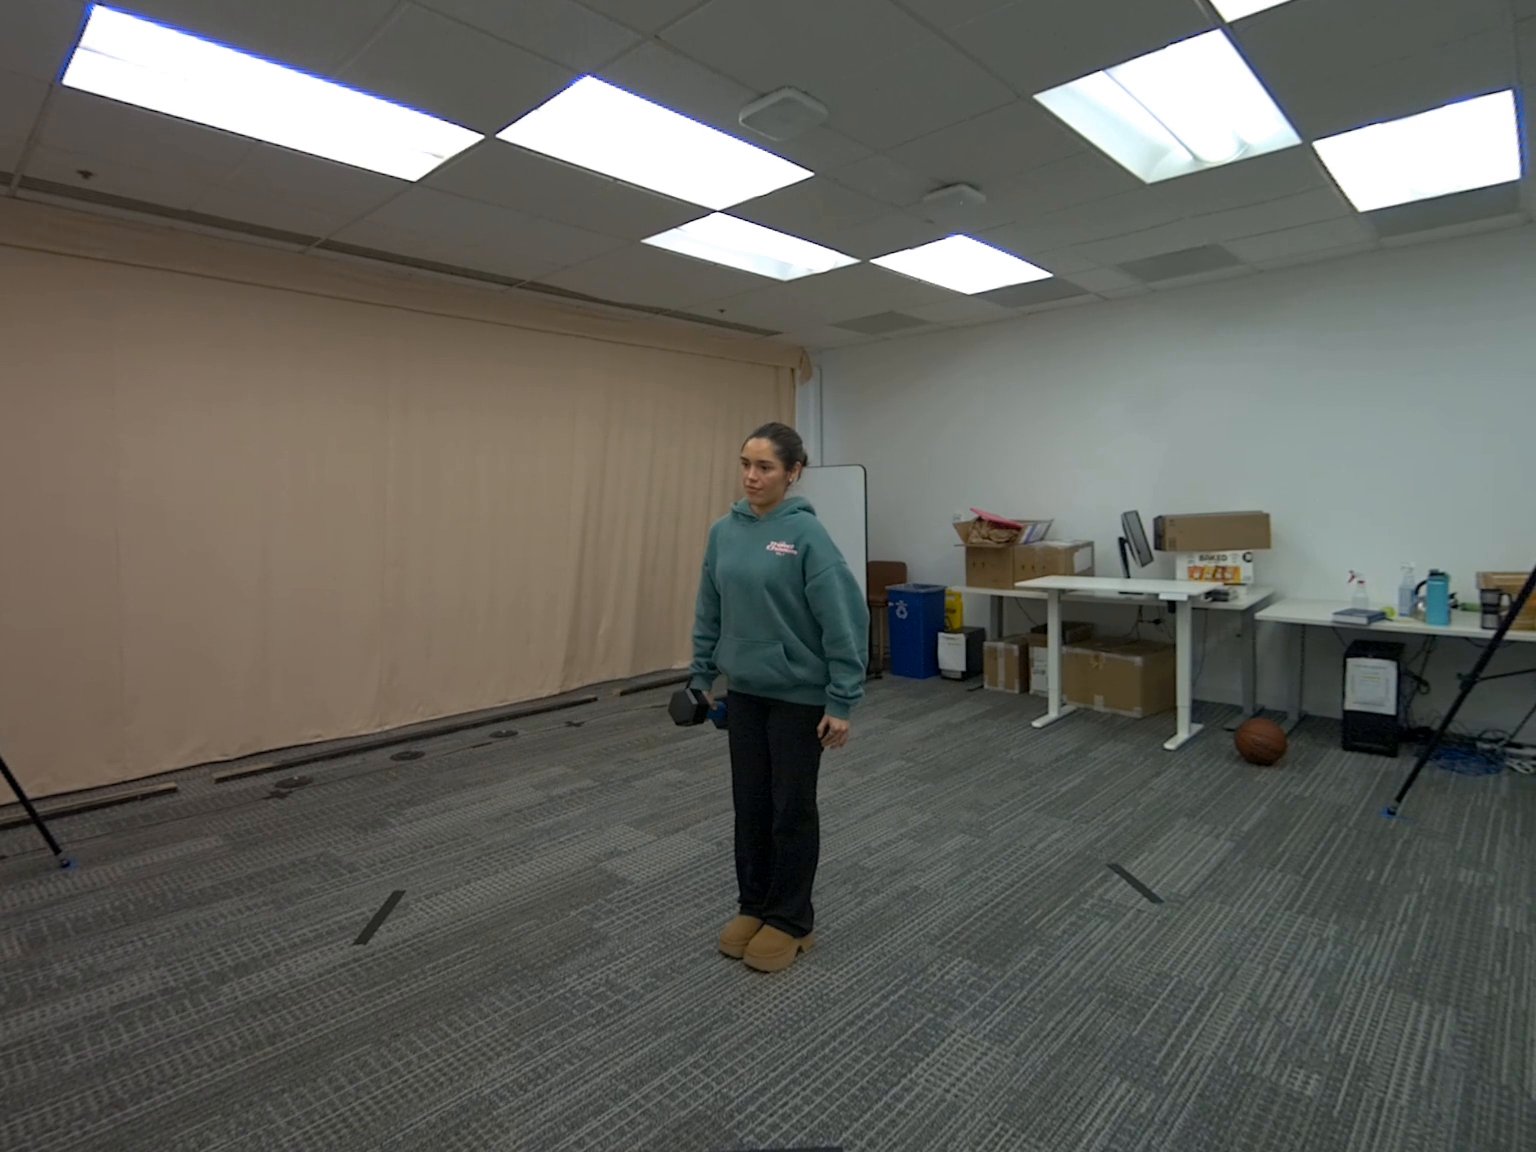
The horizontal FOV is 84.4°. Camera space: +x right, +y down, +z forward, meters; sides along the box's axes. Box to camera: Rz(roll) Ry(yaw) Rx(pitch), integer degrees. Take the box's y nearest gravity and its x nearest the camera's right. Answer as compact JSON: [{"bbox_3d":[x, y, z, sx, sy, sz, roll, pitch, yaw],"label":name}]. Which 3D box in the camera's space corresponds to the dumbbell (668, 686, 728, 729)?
[{"bbox_3d":[-0.181,0.429,2.690,0.283,0.109,0.127,20,28,-53],"label":"dumbbell"}]
